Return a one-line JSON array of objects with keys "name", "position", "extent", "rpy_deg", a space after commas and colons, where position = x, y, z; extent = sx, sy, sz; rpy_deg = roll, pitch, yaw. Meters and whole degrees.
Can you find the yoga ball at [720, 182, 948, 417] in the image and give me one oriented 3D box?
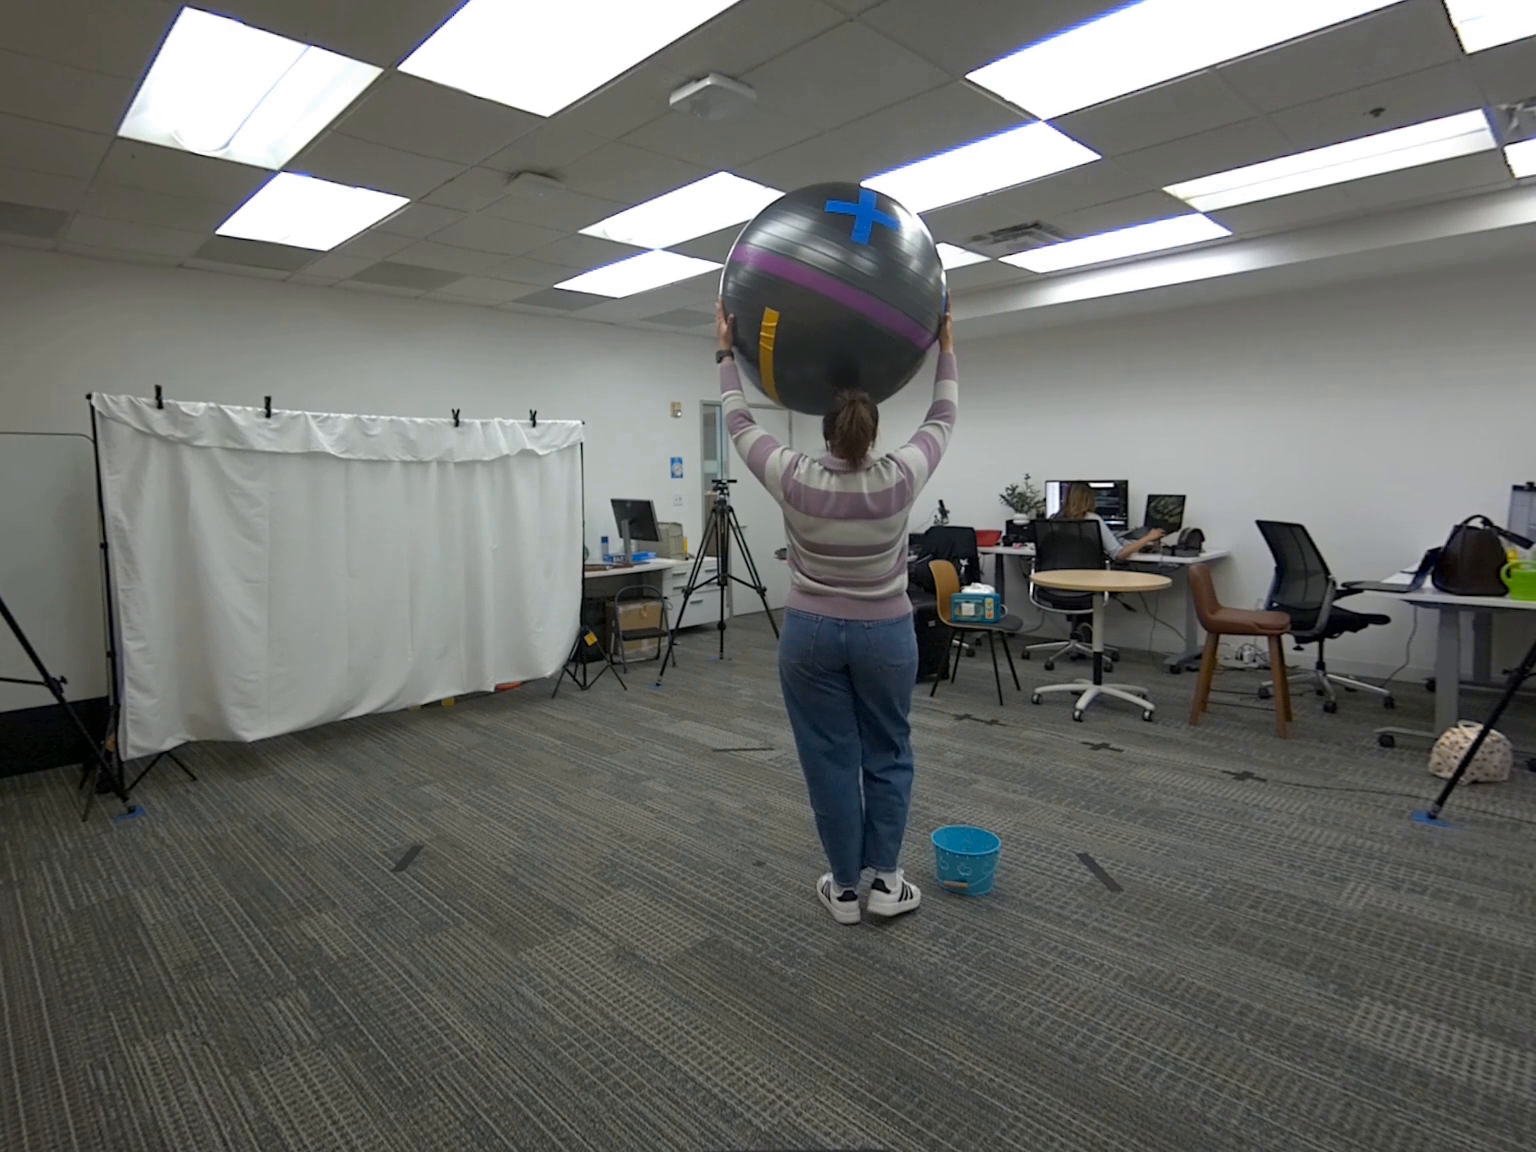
[{"name": "yoga ball", "position": [0.217, -0.919, 2.886], "extent": [0.757, 0.755, 0.762], "rpy_deg": [-1, 5, -2]}]
